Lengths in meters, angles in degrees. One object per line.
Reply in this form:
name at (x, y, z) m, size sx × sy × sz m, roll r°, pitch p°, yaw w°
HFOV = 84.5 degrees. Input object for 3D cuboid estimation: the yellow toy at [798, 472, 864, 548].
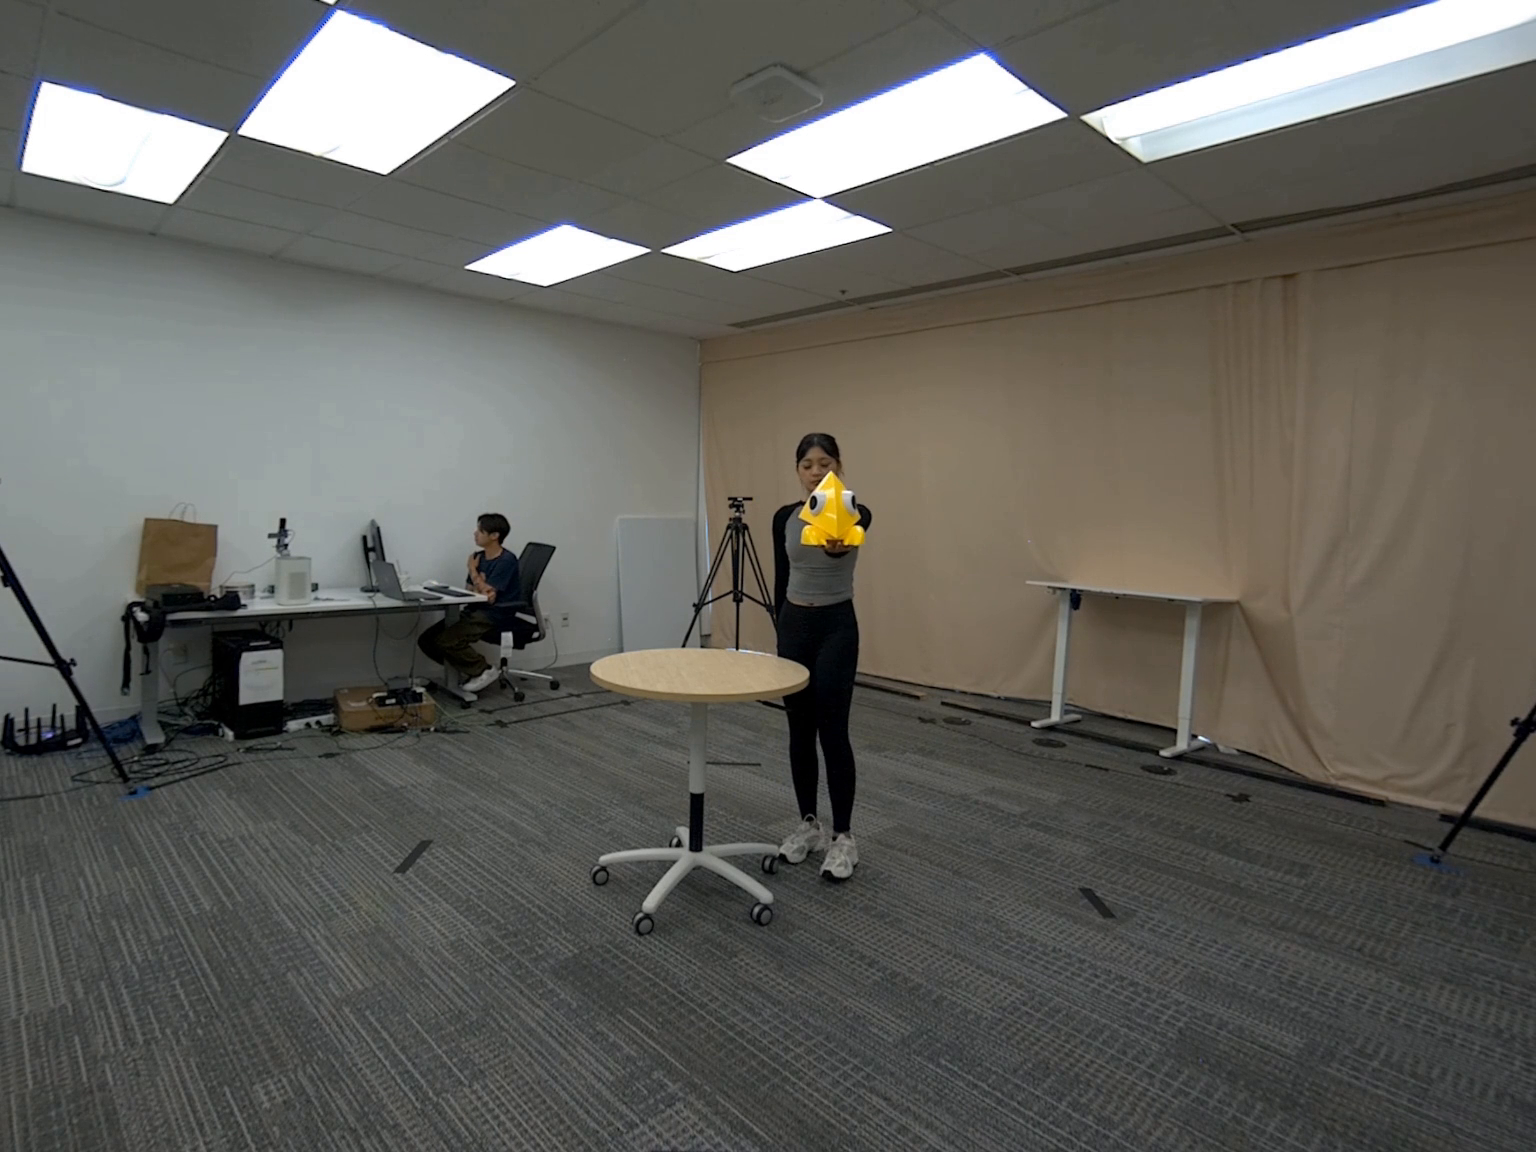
yellow toy at (0.195, -0.214, 2.665) m, size 0.204 × 0.230 × 0.194 m, roll 0°, pitch 5°, yaw -3°
